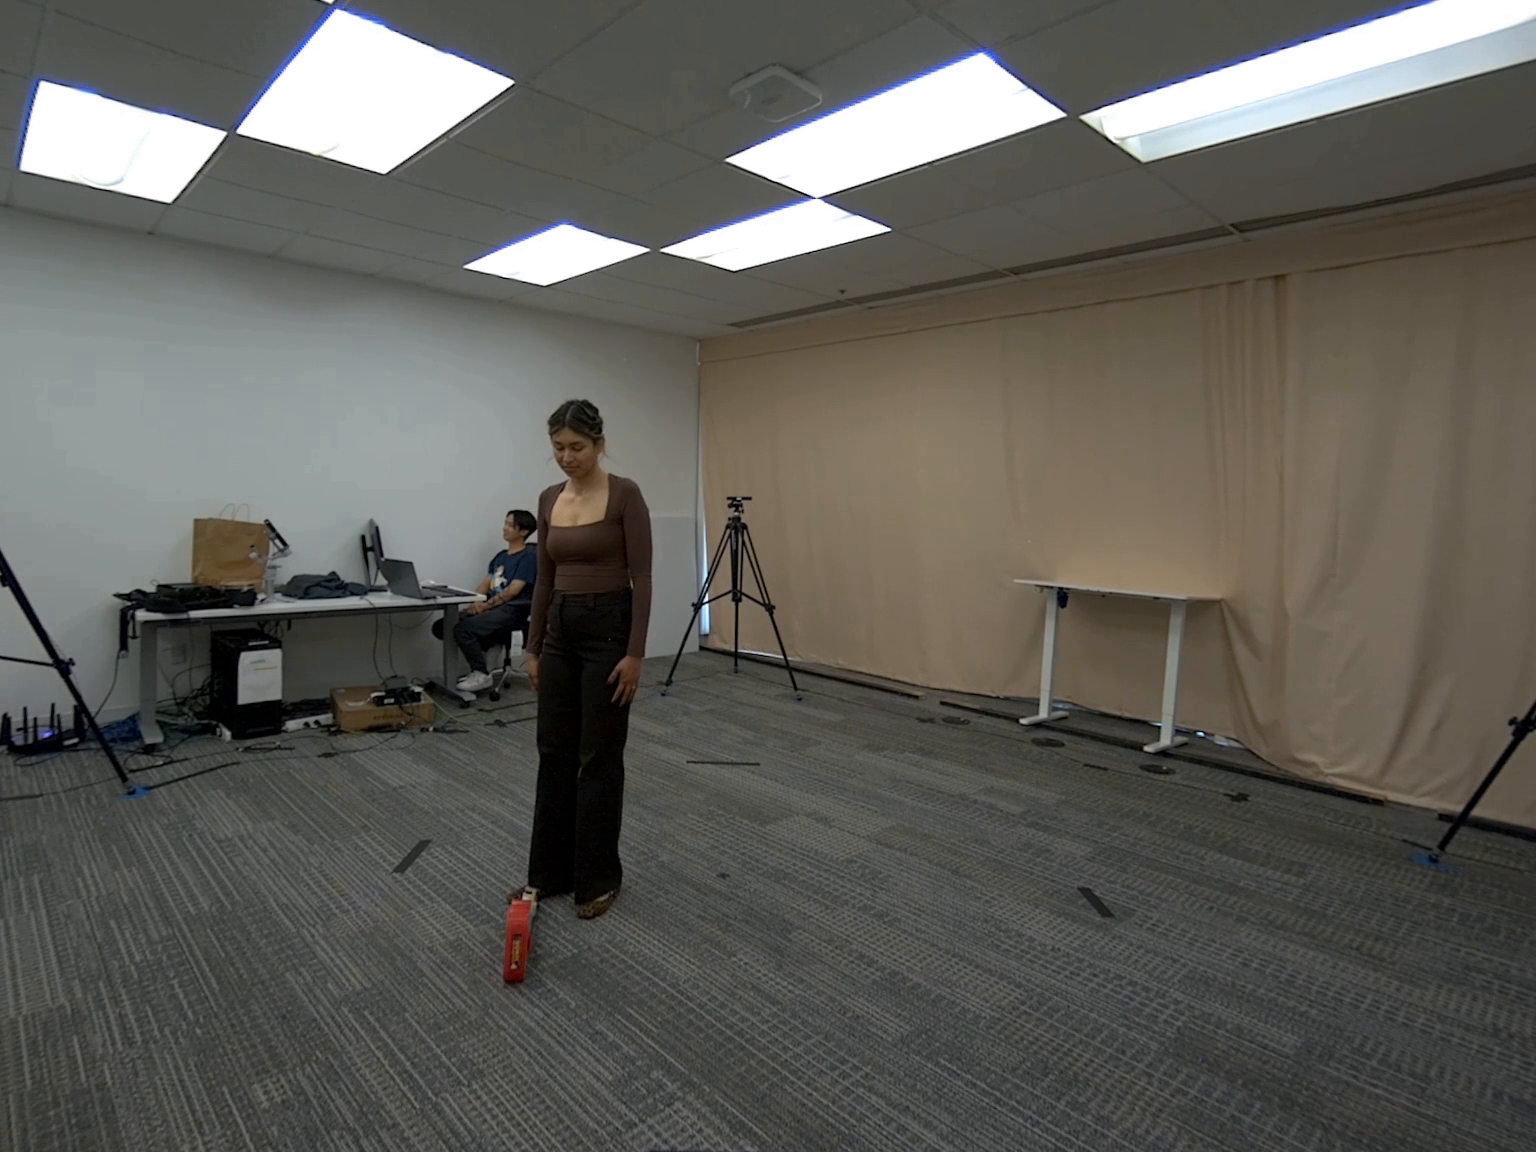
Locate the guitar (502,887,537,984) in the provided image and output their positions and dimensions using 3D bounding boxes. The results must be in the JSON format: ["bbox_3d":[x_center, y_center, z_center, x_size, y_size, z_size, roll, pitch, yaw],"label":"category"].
[{"bbox_3d":[-0.769,1.099,2.589,0.070,0.195,0.497,3,-13,-11],"label":"guitar"}]
